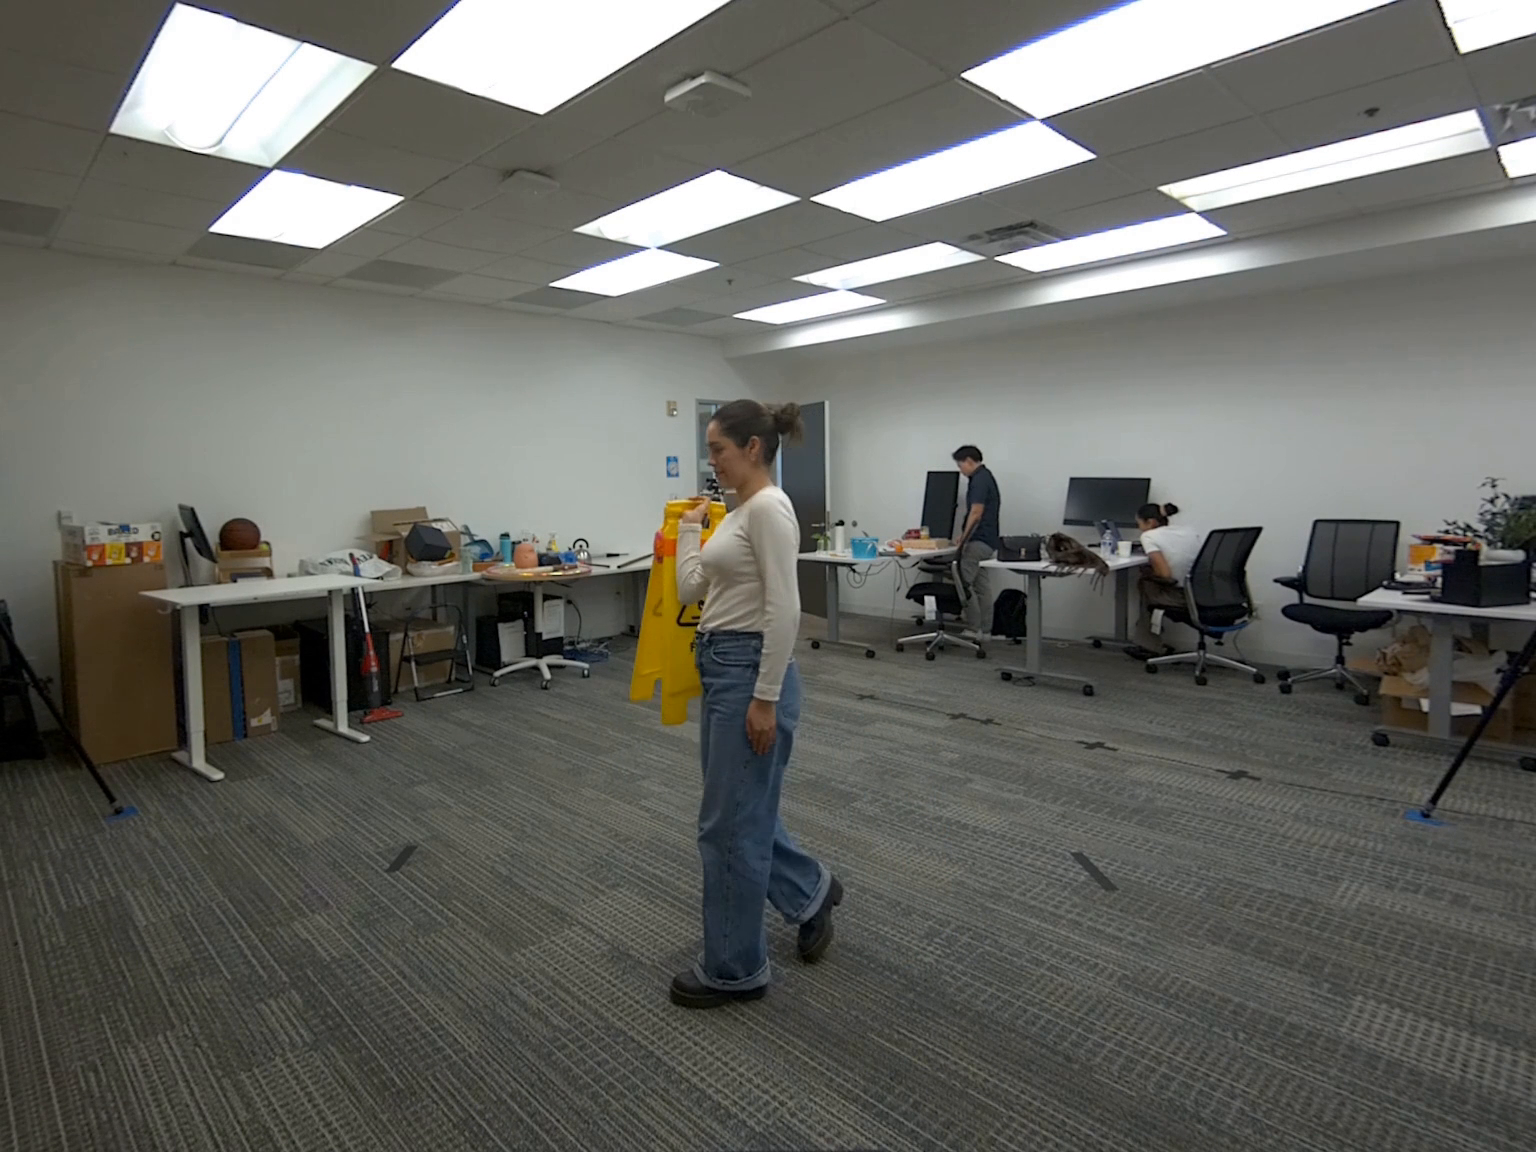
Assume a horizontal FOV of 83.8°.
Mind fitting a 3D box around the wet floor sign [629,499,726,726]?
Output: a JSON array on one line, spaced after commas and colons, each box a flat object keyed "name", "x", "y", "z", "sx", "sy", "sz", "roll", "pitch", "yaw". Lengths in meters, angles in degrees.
[{"name": "wet floor sign", "x": -0.231, "y": 0.093, "z": 2.638, "sx": 0.275, "sy": 0.643, "sz": 0.298, "roll": 1, "pitch": 5, "yaw": -29}]
